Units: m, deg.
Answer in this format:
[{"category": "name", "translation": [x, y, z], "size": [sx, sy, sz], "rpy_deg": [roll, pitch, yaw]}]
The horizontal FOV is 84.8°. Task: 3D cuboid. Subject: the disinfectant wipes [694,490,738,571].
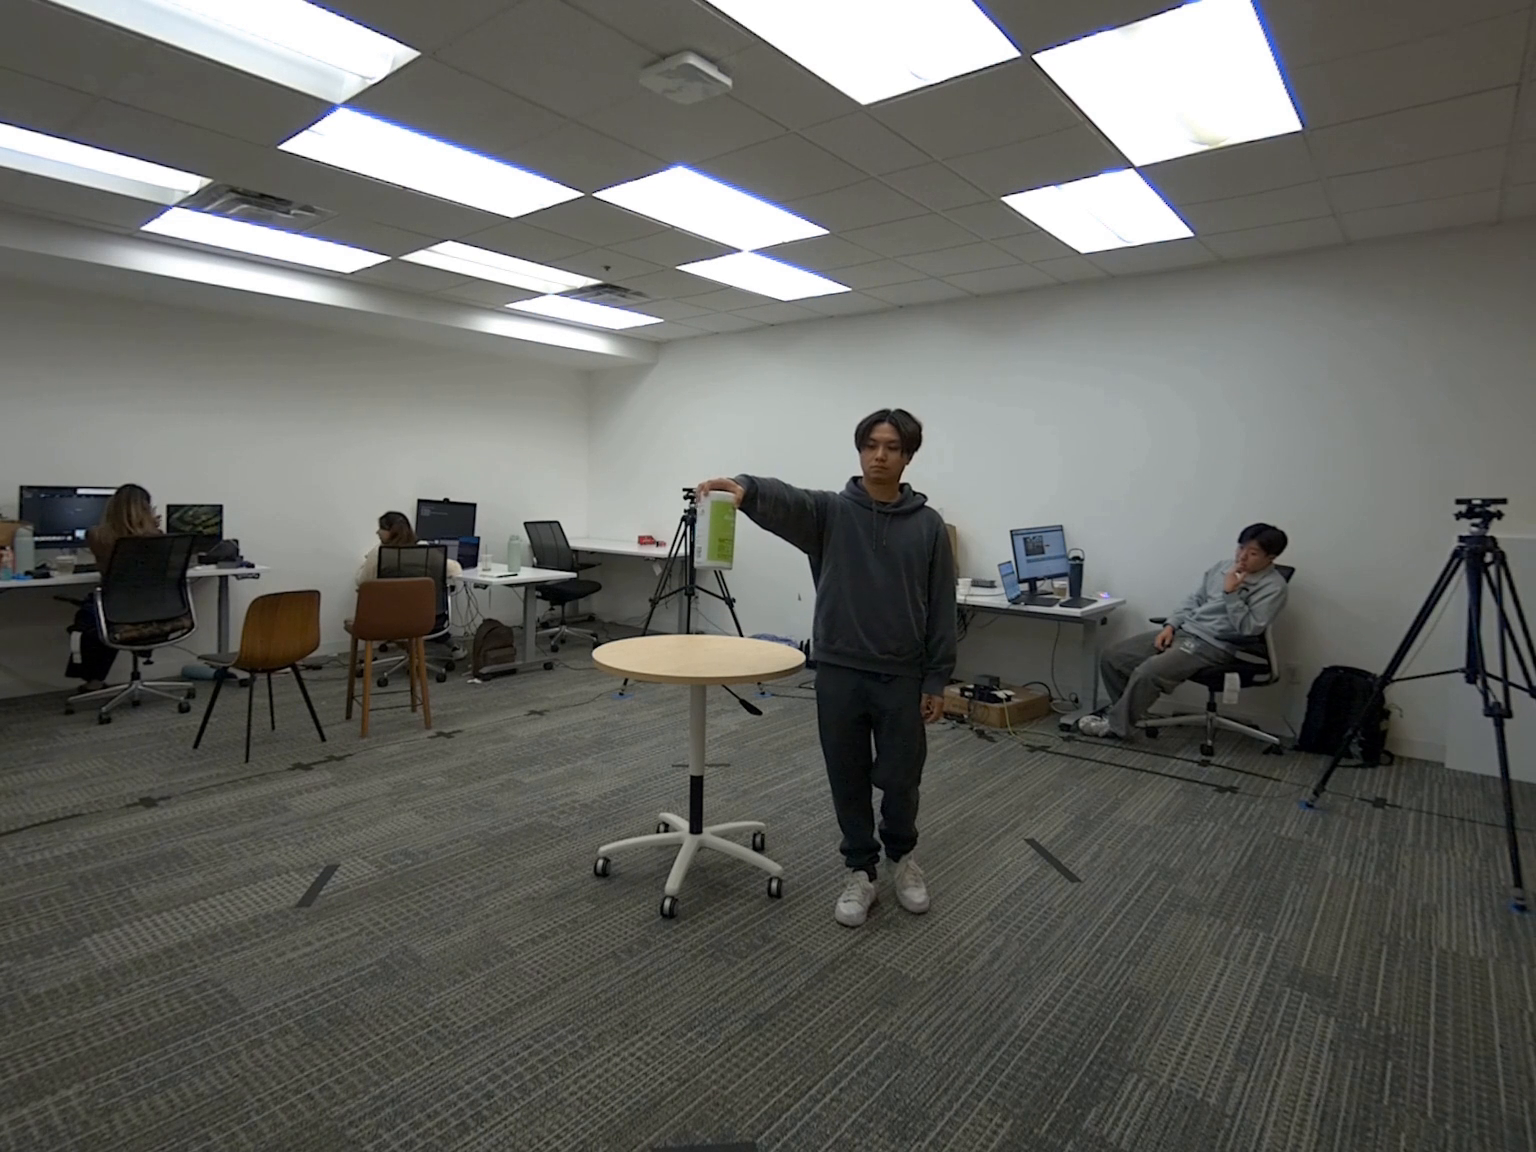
[{"category": "disinfectant wipes", "translation": [-0.156, -0.127, 2.389], "size": [0.118, 0.218, 0.117], "rpy_deg": [3, -4, -2]}]
